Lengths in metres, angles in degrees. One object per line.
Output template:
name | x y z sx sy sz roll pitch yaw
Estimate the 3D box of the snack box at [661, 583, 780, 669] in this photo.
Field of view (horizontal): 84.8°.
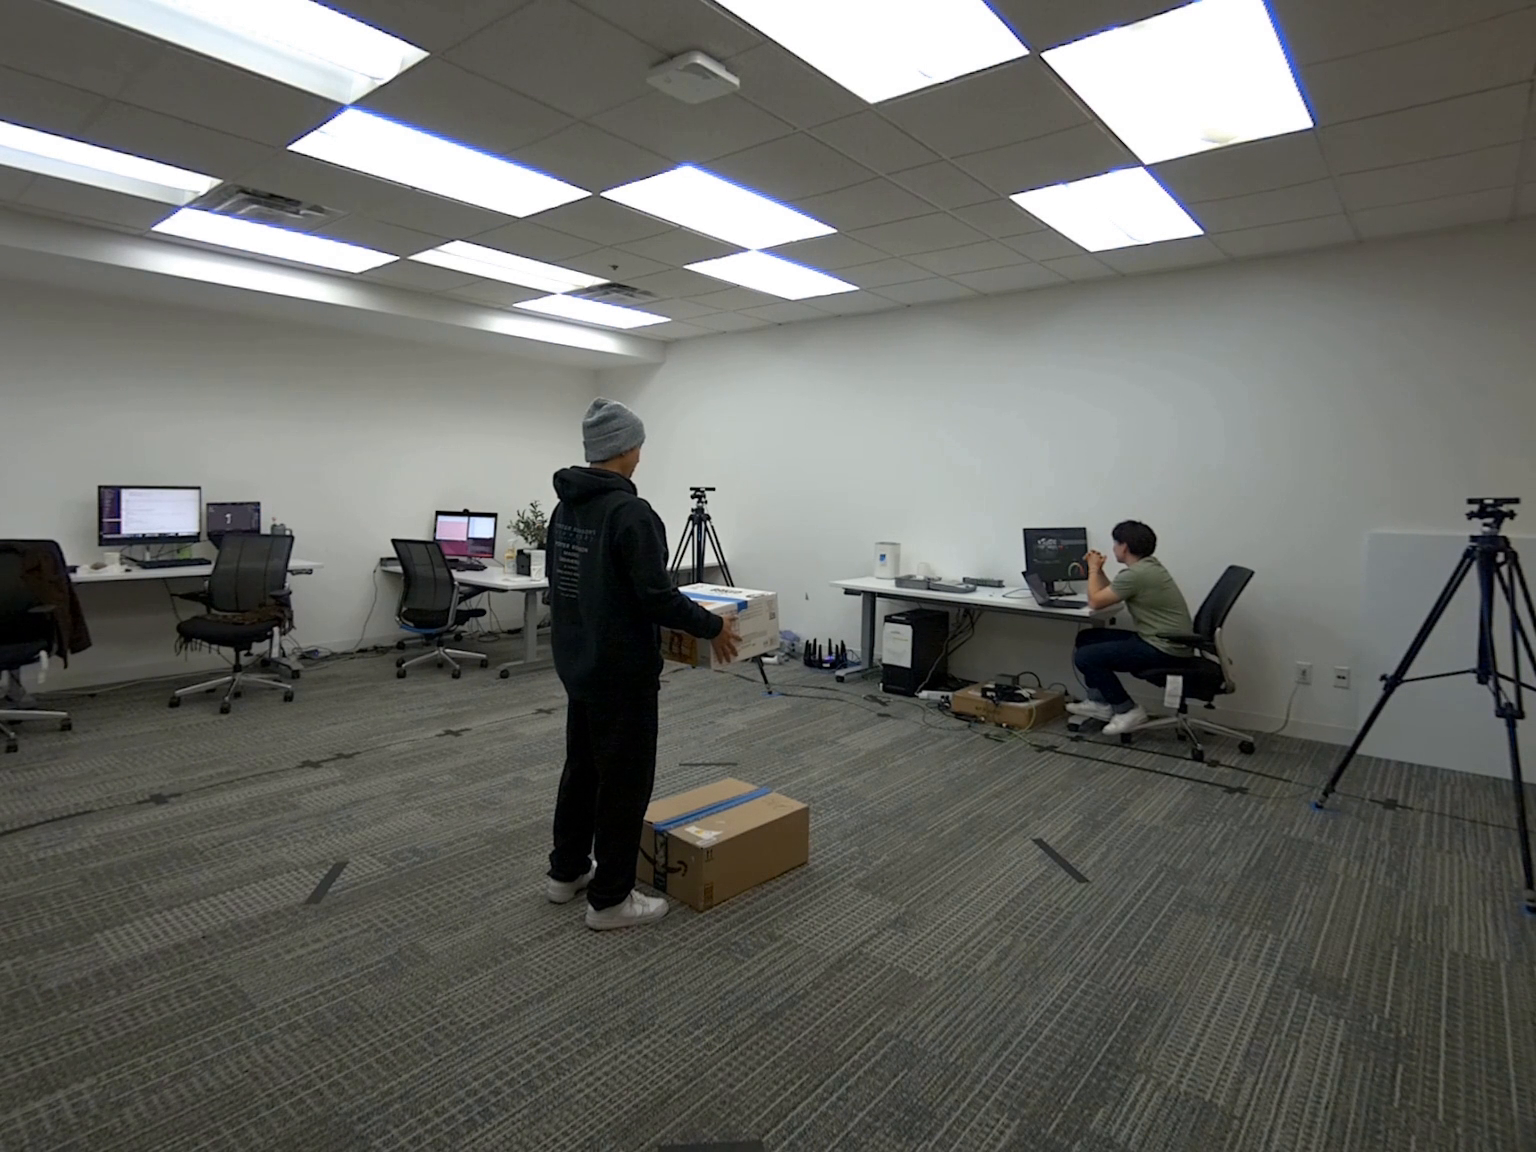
snack box | -0.234 0.167 3.039 0.419 0.204 0.332 5 13 44
